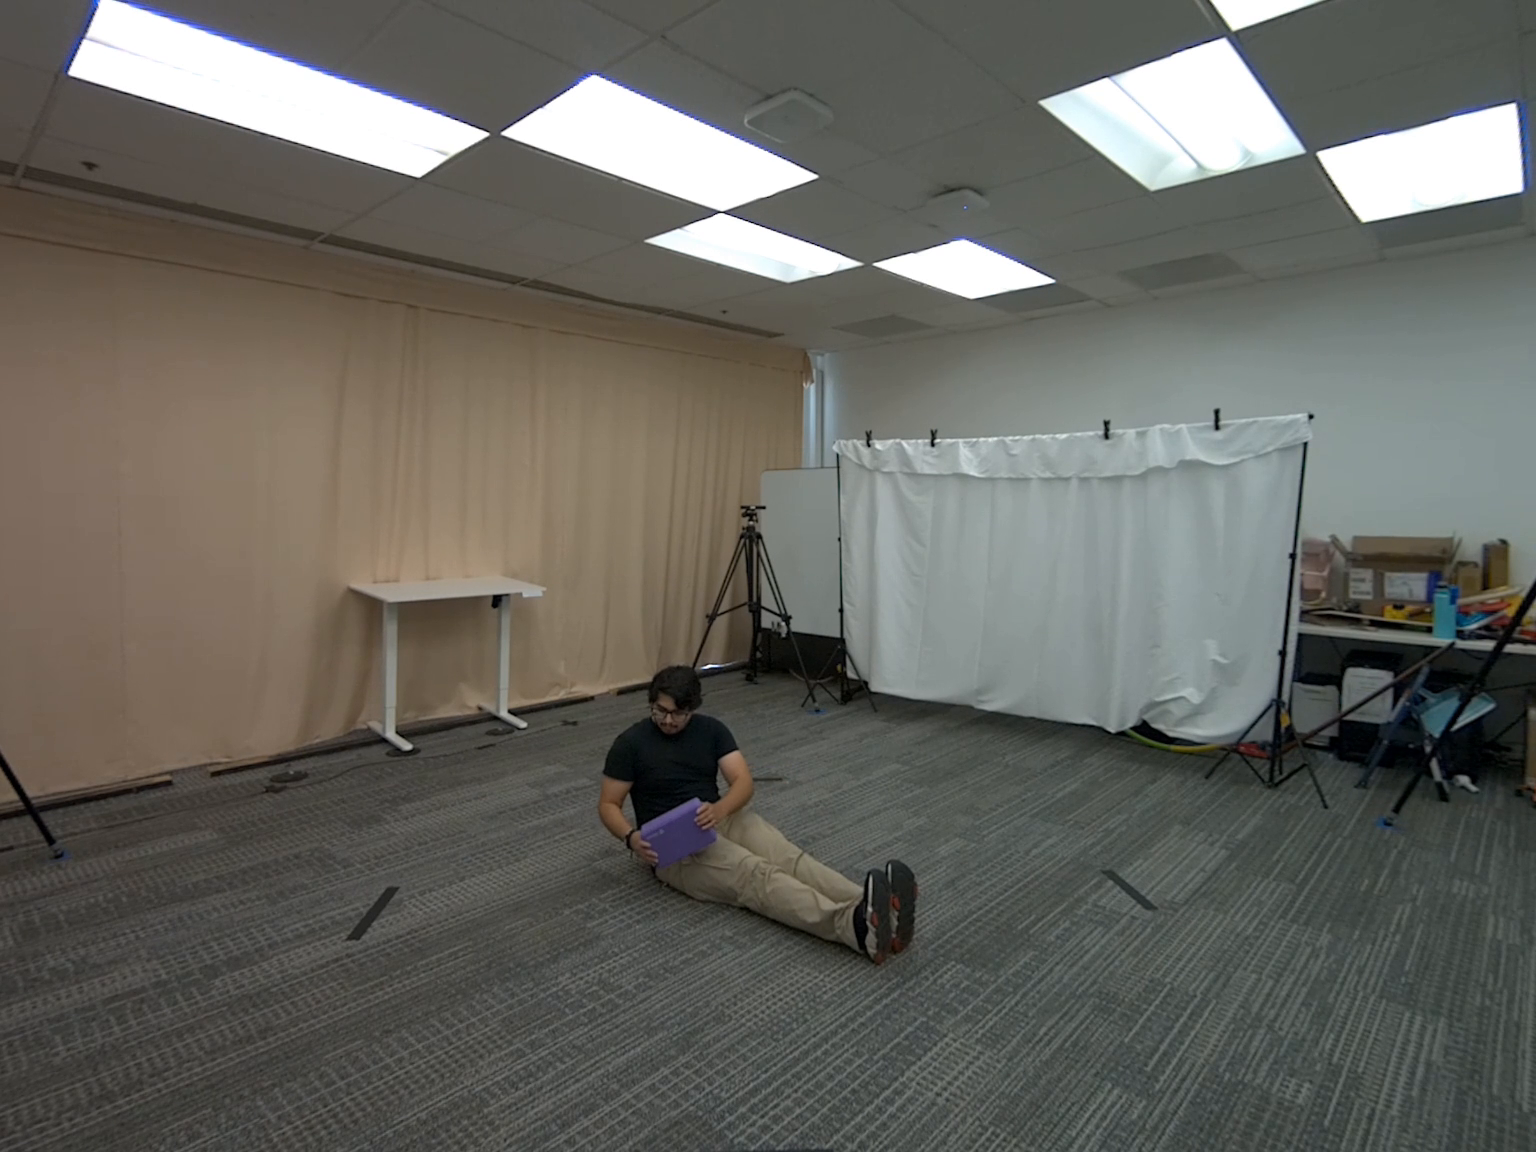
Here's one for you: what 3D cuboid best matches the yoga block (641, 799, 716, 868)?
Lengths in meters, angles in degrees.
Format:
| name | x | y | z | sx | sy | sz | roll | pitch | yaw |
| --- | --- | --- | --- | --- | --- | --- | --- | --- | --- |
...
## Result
| name | x | y | z | sx | sy | sz | roll | pitch | yaw |
| --- | --- | --- | --- | --- | --- | --- | --- | --- | --- |
| yoga block | -0.315 | 0.882 | 2.912 | 0.230 | 0.148 | 0.077 | -24 | 7 | 3 |
